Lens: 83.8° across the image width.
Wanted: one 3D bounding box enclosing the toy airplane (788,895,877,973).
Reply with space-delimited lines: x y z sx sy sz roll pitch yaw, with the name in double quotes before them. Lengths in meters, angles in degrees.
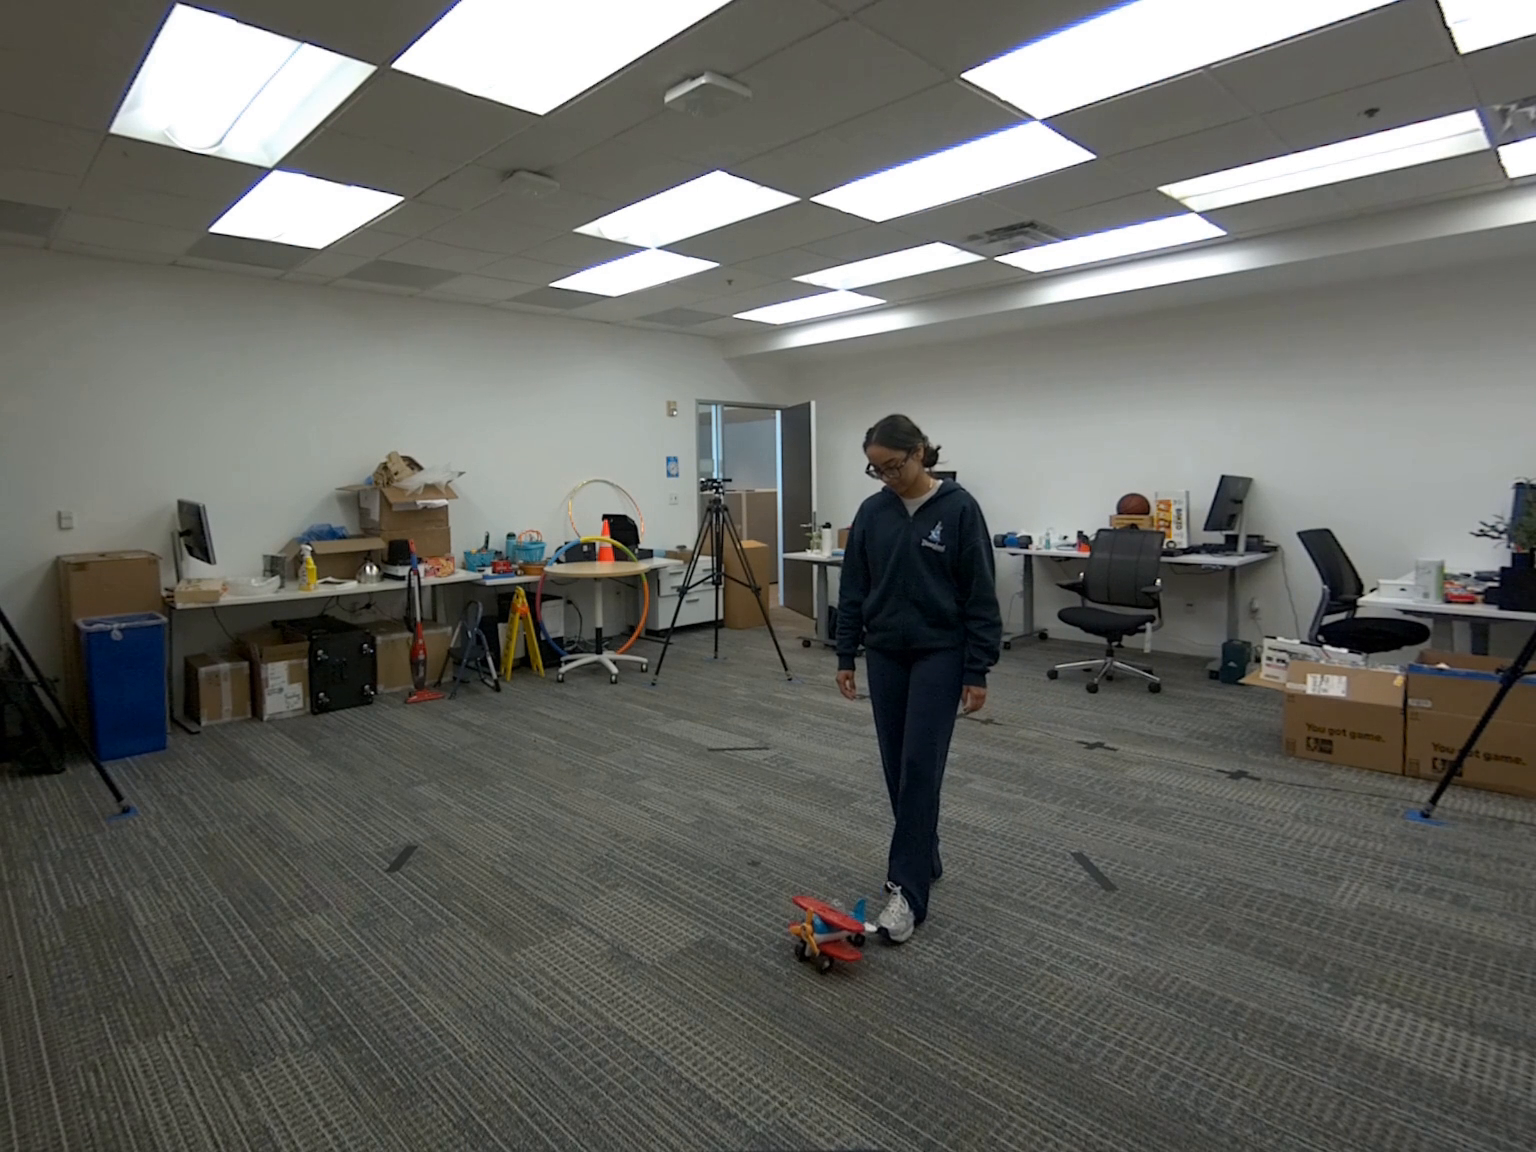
"toy airplane" 0.186 1.032 2.515 0.256 0.155 0.256 0 8 20
